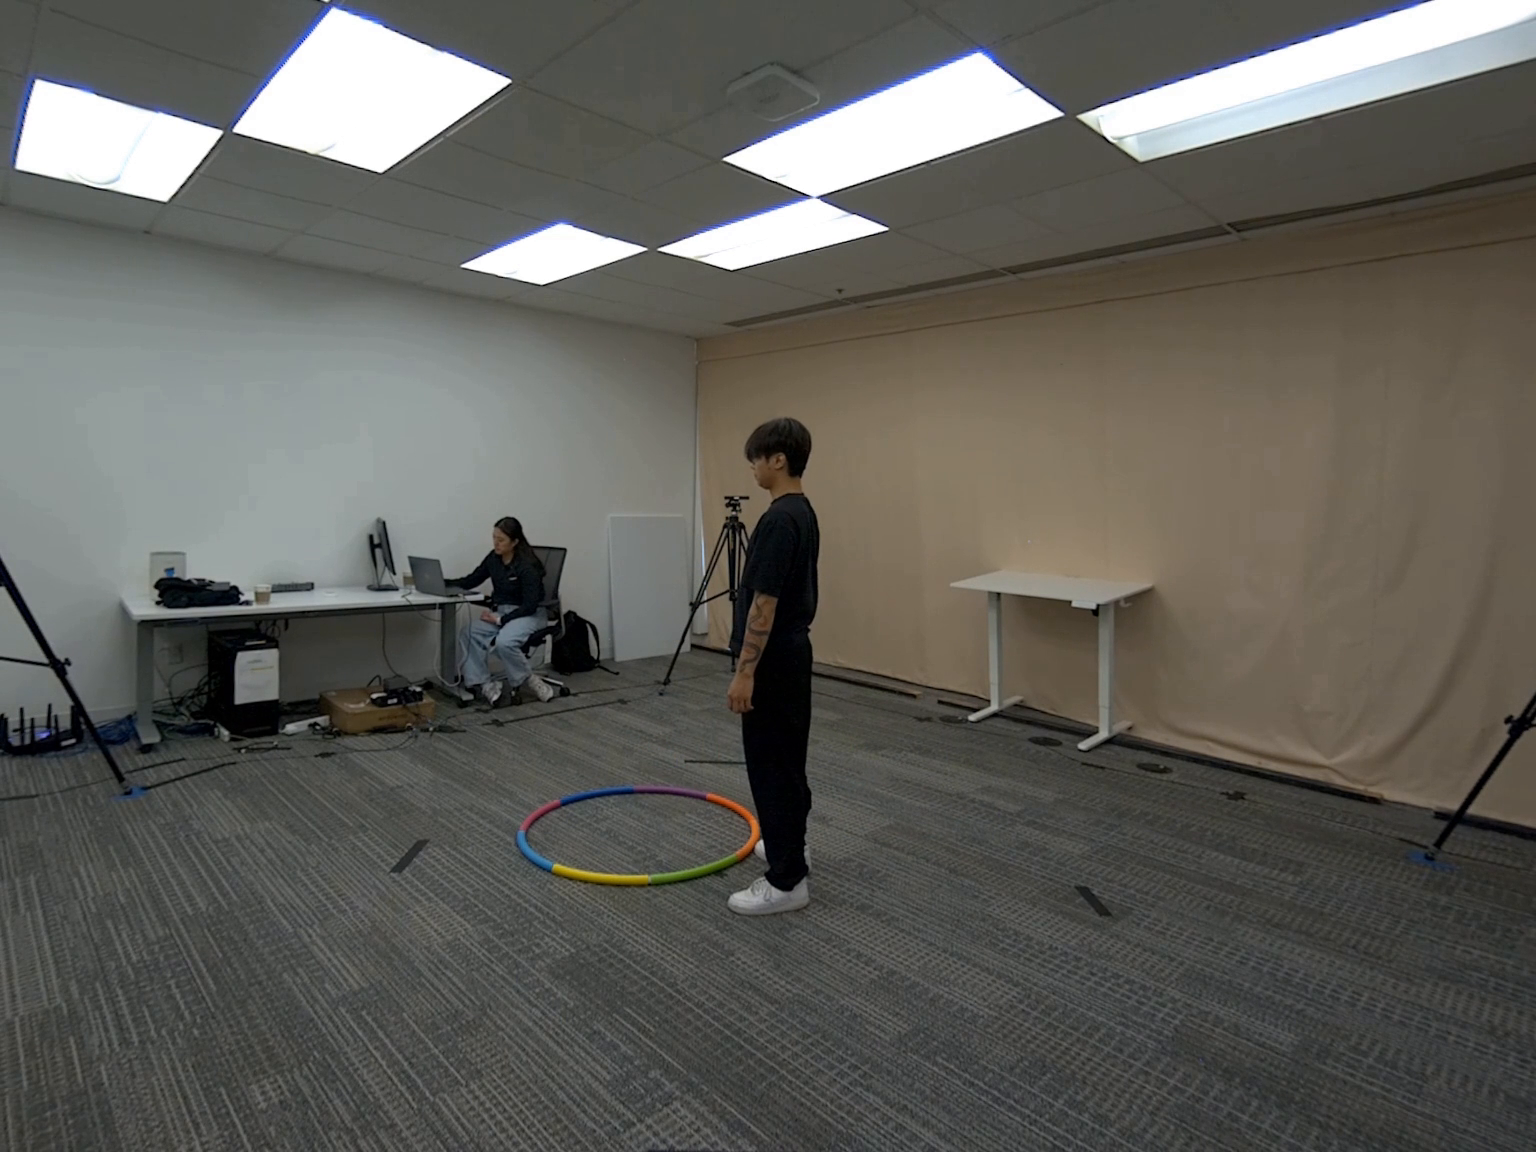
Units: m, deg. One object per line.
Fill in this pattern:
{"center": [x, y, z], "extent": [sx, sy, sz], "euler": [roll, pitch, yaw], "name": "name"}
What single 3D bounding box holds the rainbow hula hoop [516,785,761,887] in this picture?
{"center": [-0.529, 1.035, 3.478], "extent": [0.978, 0.035, 0.982], "euler": [1, 5, -1], "name": "rainbow hula hoop"}
